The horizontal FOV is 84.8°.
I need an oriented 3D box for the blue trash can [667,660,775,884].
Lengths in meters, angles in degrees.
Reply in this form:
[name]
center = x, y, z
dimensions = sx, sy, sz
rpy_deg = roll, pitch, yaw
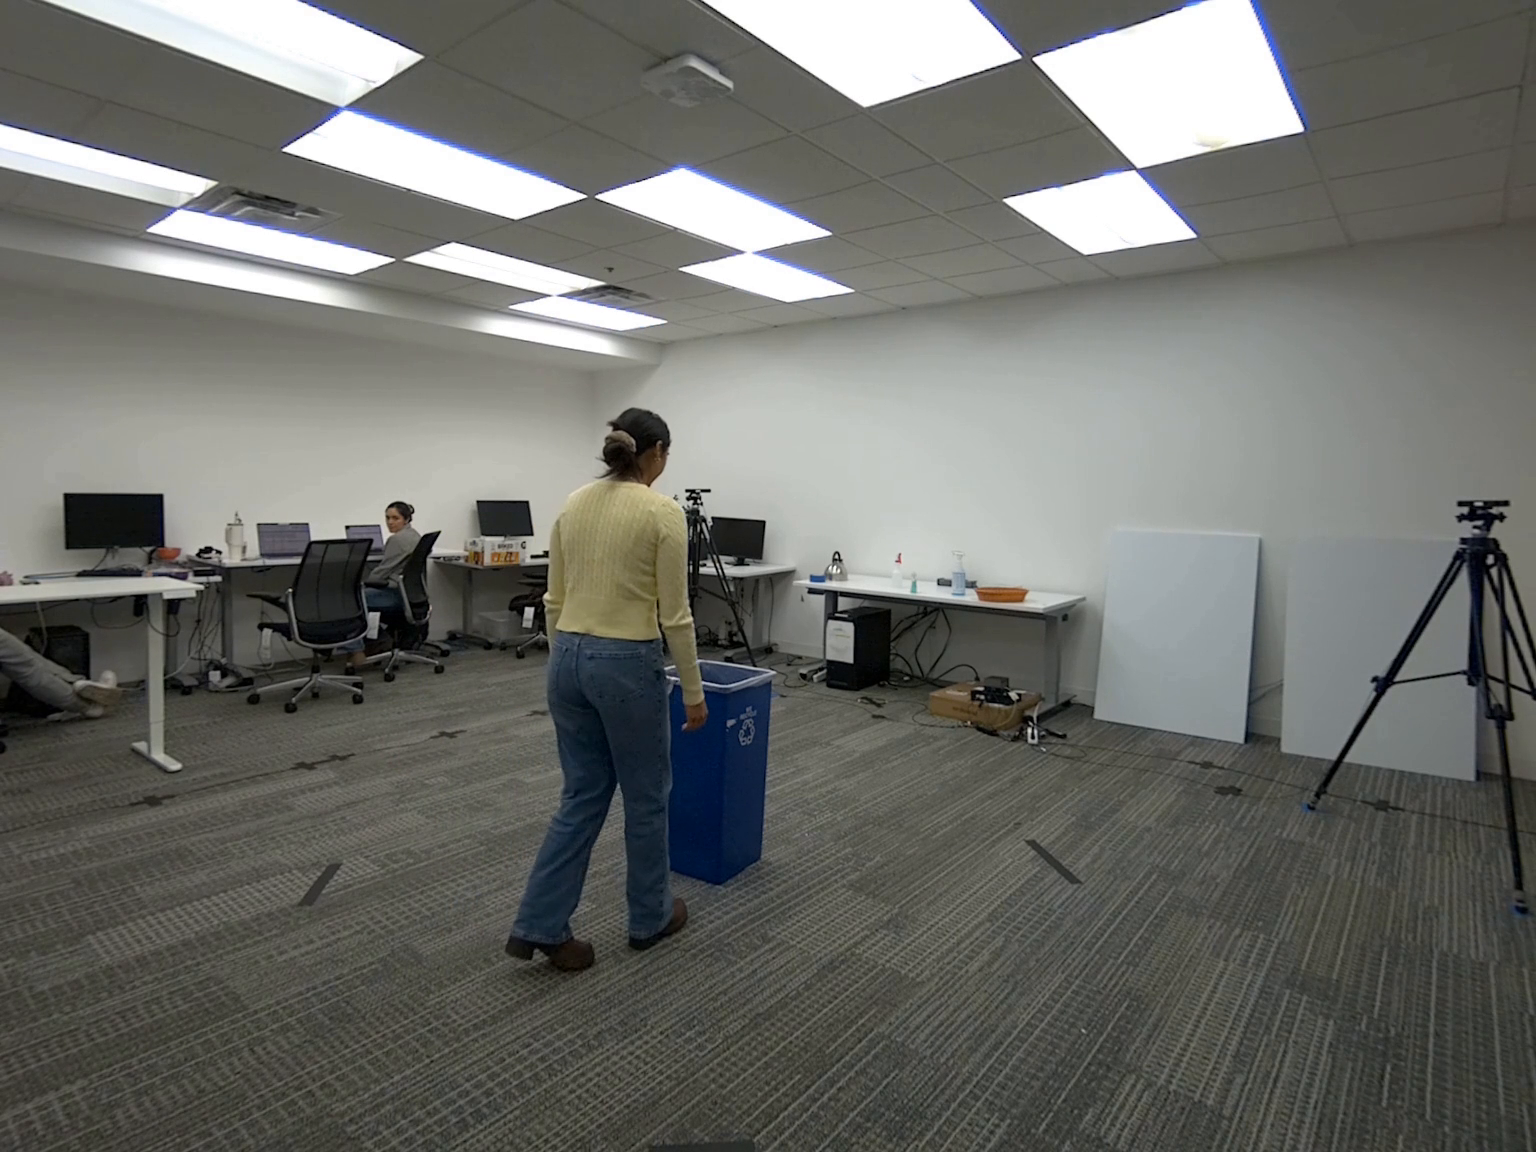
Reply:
[blue trash can]
center = -0.225, 0.709, 3.182
dimensions = 0.389, 0.711, 0.364
rpy_deg = 3, 4, 32
